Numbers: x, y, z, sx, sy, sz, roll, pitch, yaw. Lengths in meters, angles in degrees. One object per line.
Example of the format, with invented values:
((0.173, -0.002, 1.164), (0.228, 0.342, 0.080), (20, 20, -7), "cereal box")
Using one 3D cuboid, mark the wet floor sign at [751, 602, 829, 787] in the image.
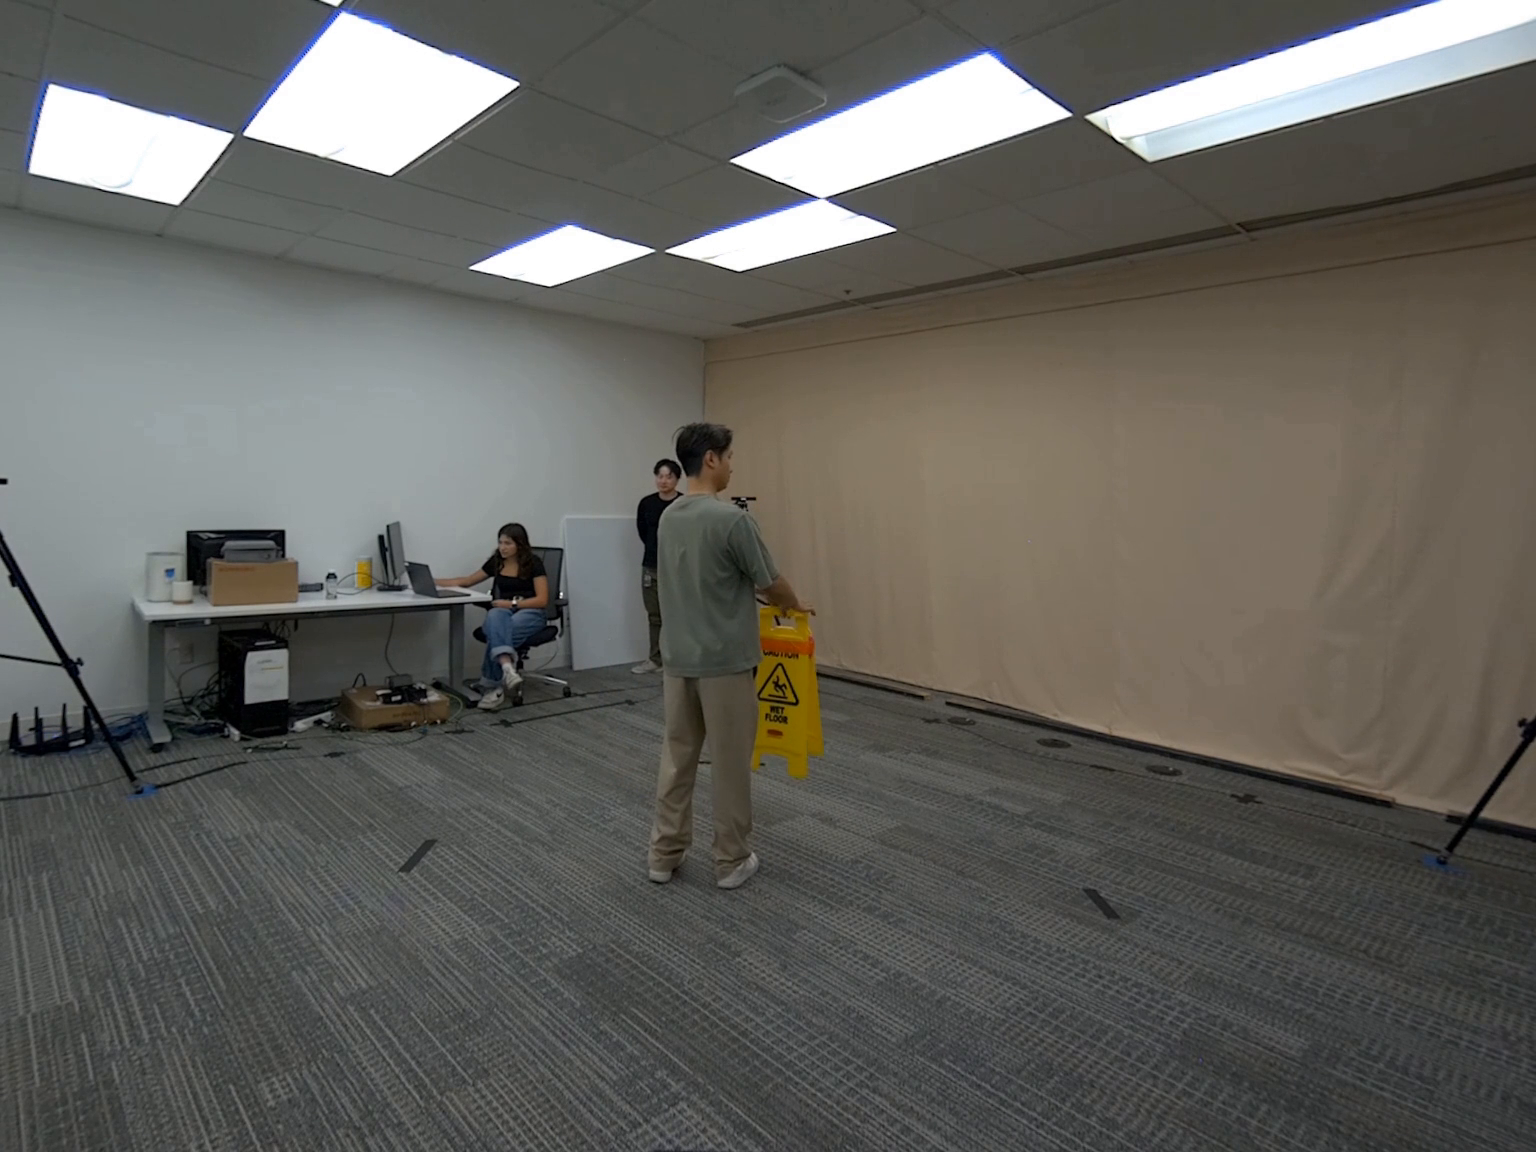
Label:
((0.054, 0.459, 3.415), (0.287, 0.642, 0.287), (5, 9, 20), "wet floor sign")
